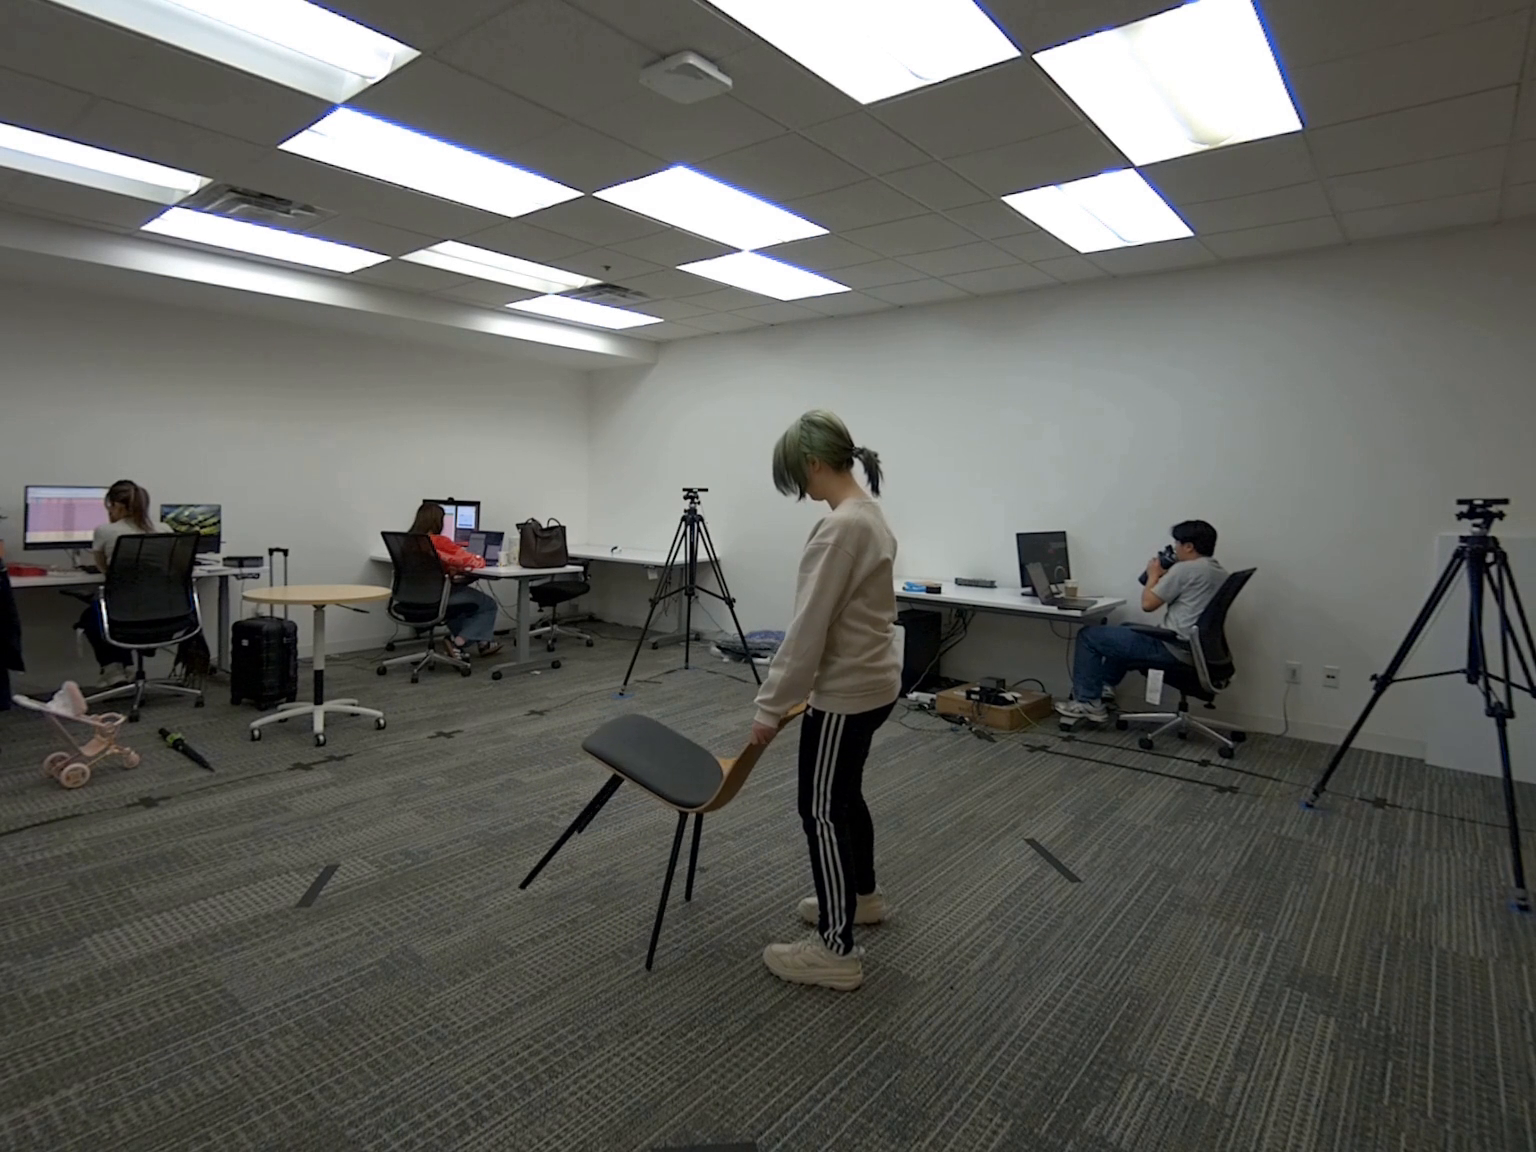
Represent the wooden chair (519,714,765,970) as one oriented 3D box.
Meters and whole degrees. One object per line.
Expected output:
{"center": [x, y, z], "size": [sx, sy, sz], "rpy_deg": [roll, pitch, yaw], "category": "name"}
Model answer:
{"center": [-0.331, 0.631, 2.637], "size": [0.531, 0.875, 0.472], "rpy_deg": [32, 9, 9], "category": "wooden chair"}
